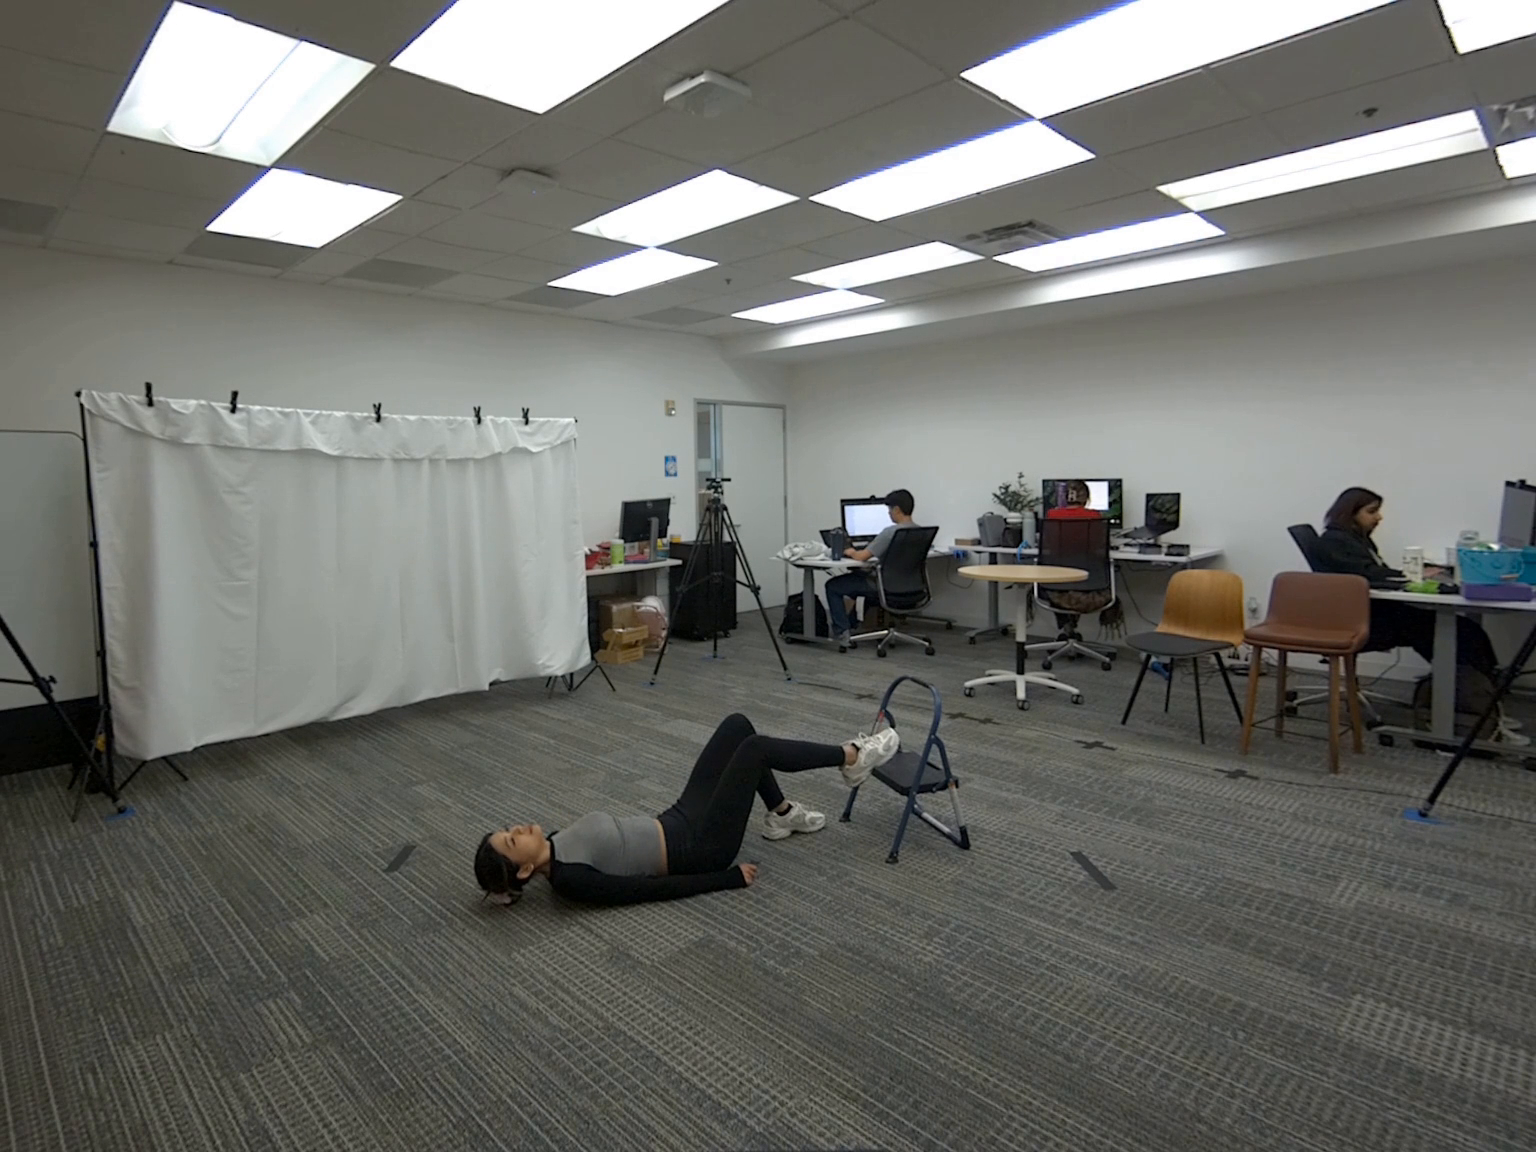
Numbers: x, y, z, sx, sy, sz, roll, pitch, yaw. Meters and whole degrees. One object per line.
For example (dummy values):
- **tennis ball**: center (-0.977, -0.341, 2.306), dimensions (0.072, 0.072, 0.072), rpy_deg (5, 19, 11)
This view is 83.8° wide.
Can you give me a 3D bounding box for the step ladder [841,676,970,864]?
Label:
- **step ladder**: center (0.521, 0.707, 3.316), dimensions (0.343, 0.604, 0.439), rpy_deg (-3, 4, -19)
